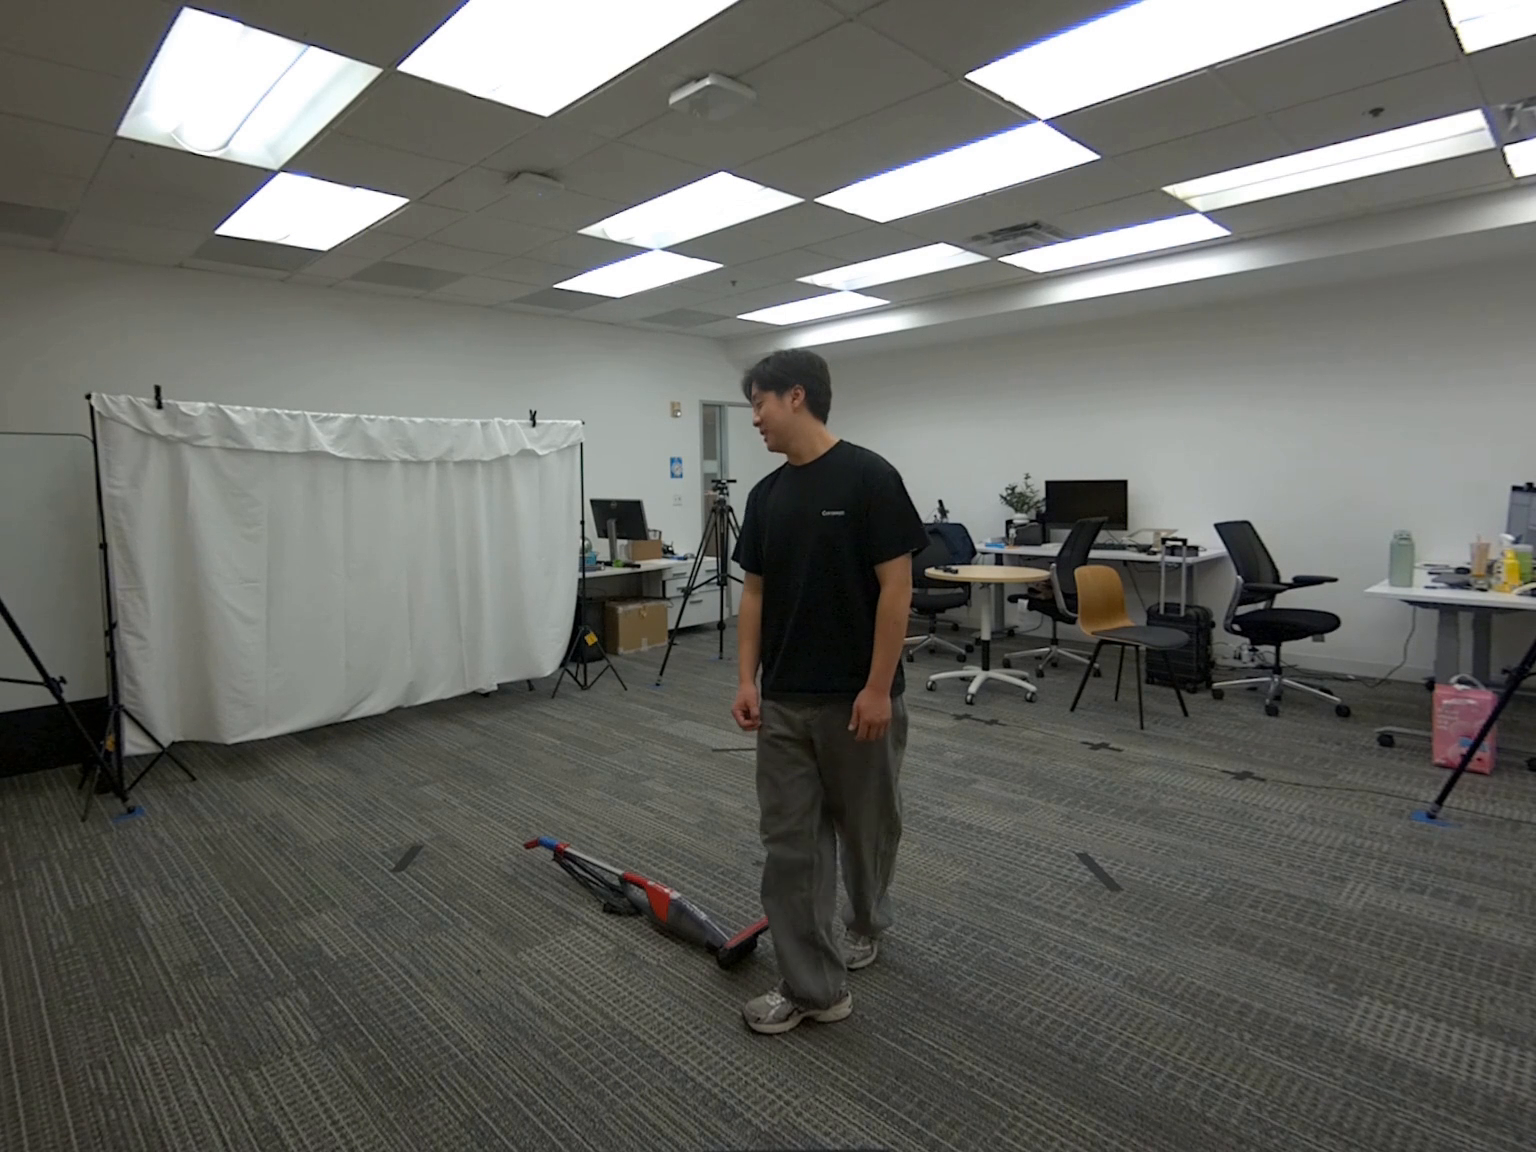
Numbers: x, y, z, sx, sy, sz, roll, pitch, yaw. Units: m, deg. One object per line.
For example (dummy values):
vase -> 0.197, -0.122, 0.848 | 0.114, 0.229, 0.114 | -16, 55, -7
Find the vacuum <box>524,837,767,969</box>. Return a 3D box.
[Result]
vacuum -> -0.475, 1.035, 2.807 | 1.081, 0.143, 0.246 | 3, 7, 39
